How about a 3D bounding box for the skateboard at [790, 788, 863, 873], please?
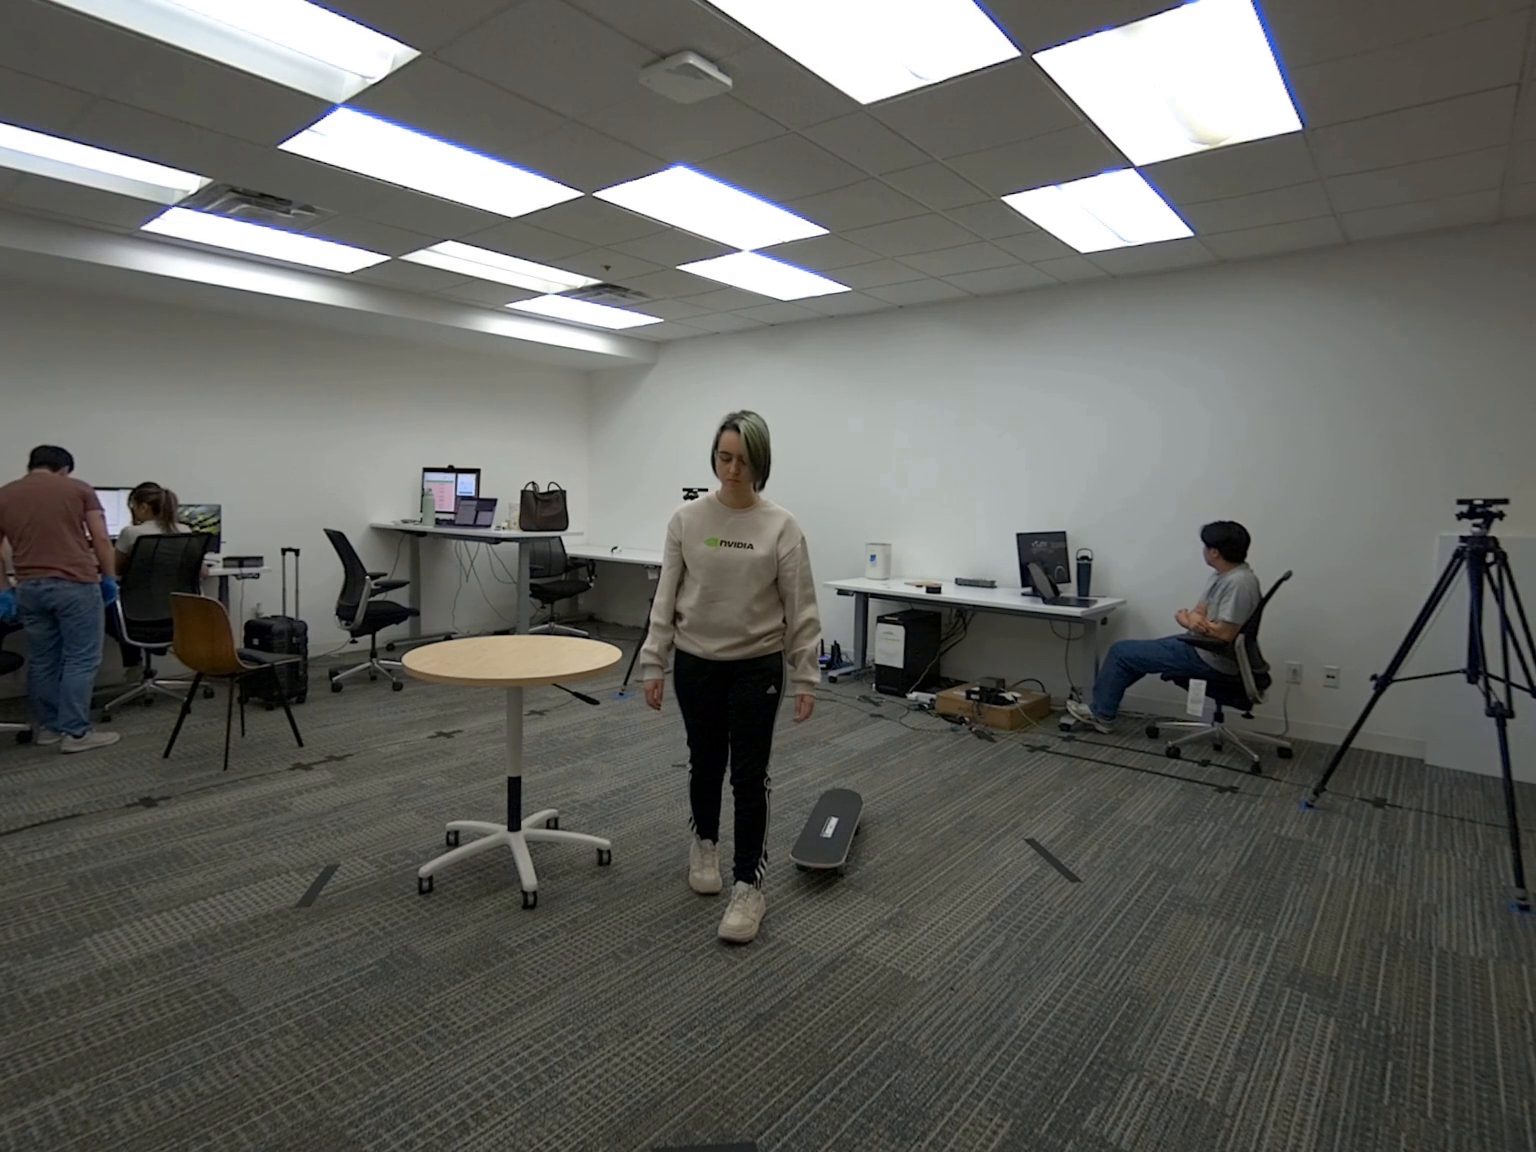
[{"bbox_3d":[0.238,1.004,3.313,0.197,0.110,0.775,3,6,14],"label":"skateboard"}]
